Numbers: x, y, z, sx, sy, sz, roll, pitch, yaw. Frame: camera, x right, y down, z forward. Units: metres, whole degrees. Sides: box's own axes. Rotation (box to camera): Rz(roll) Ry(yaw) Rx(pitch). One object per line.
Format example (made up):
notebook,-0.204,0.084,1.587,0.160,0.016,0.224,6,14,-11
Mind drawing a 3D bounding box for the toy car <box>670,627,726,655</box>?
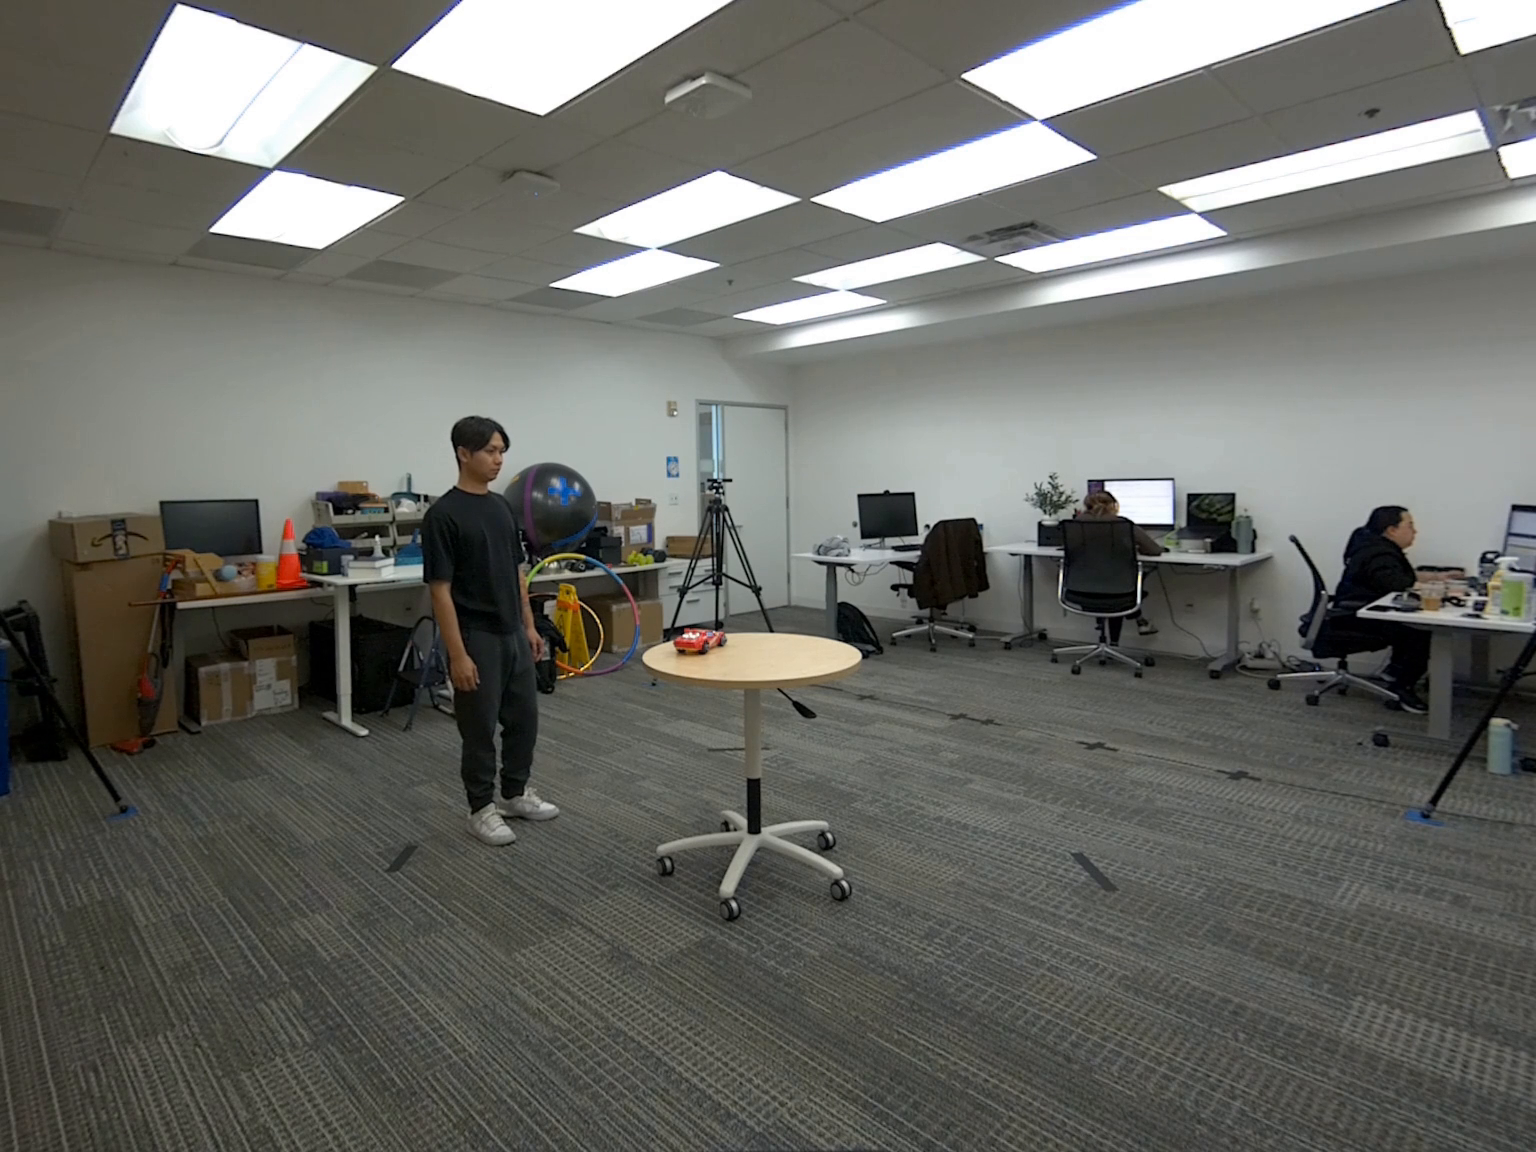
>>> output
toy car,-0.253,0.234,3.078,0.133,0.083,0.248,2,-4,23
